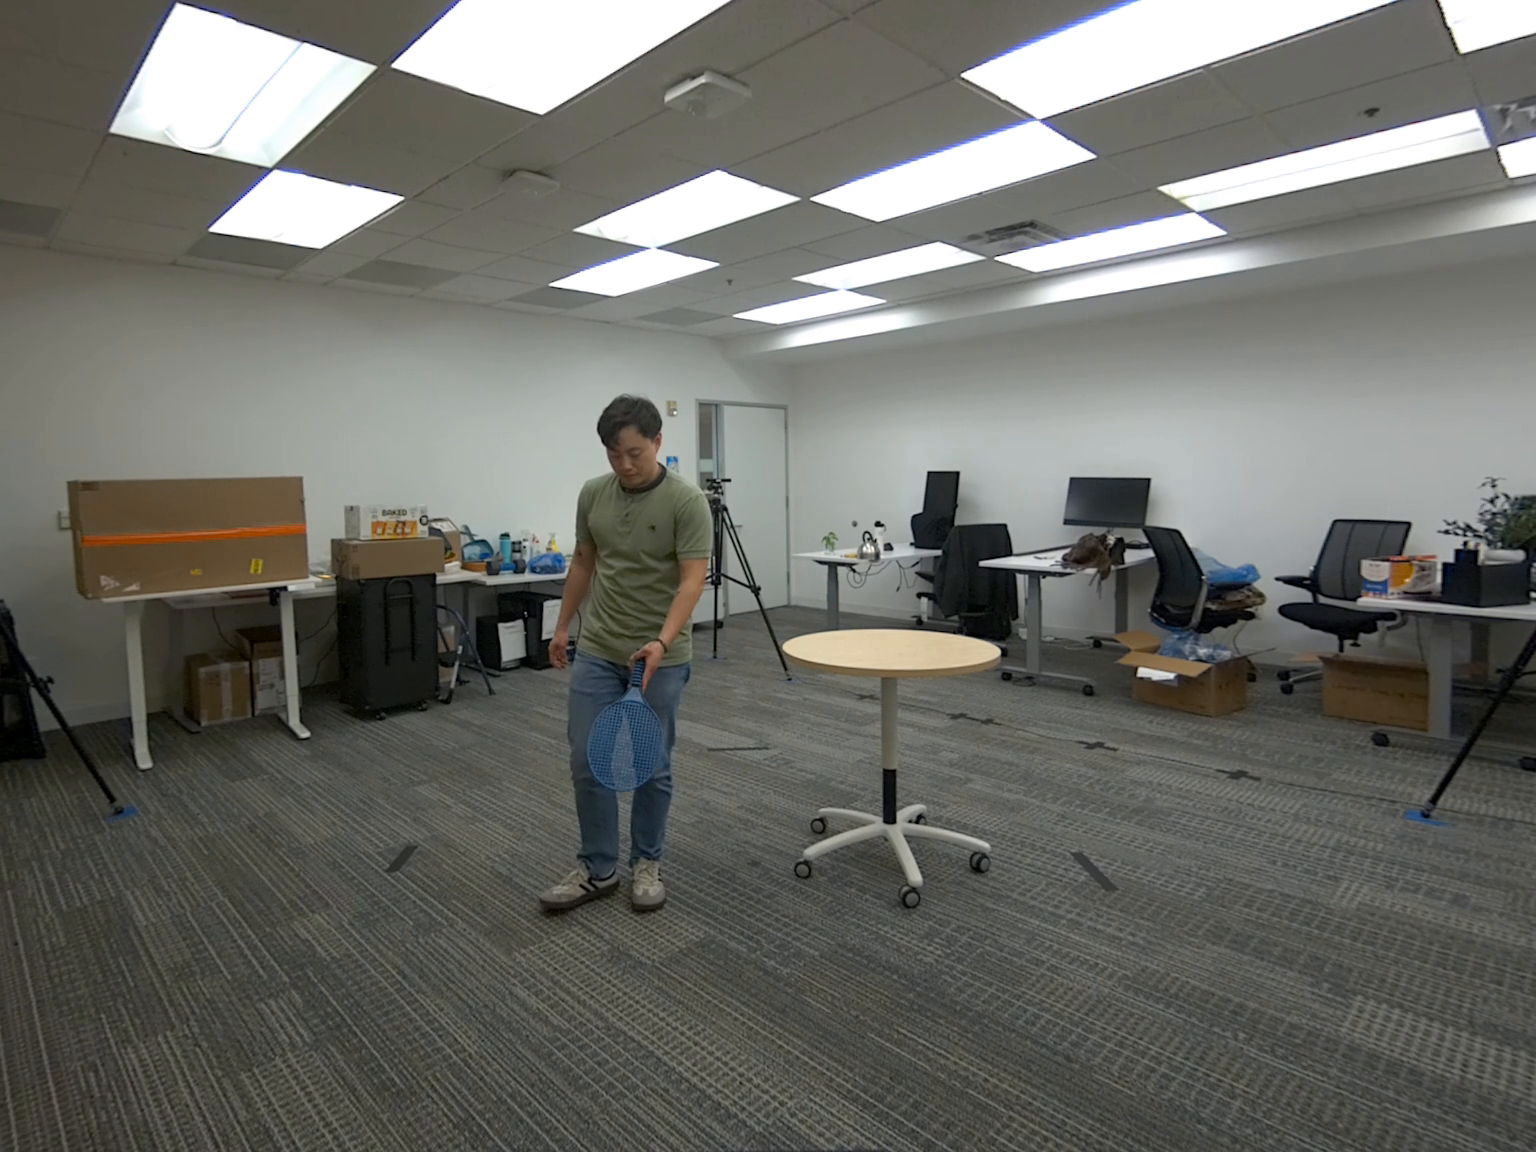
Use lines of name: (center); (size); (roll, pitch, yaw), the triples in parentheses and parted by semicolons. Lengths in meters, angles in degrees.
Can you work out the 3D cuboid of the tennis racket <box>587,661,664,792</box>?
tennis racket: (-0.401, 0.403, 2.469); (0.213, 0.441, 0.031); (10, -32, -3)
